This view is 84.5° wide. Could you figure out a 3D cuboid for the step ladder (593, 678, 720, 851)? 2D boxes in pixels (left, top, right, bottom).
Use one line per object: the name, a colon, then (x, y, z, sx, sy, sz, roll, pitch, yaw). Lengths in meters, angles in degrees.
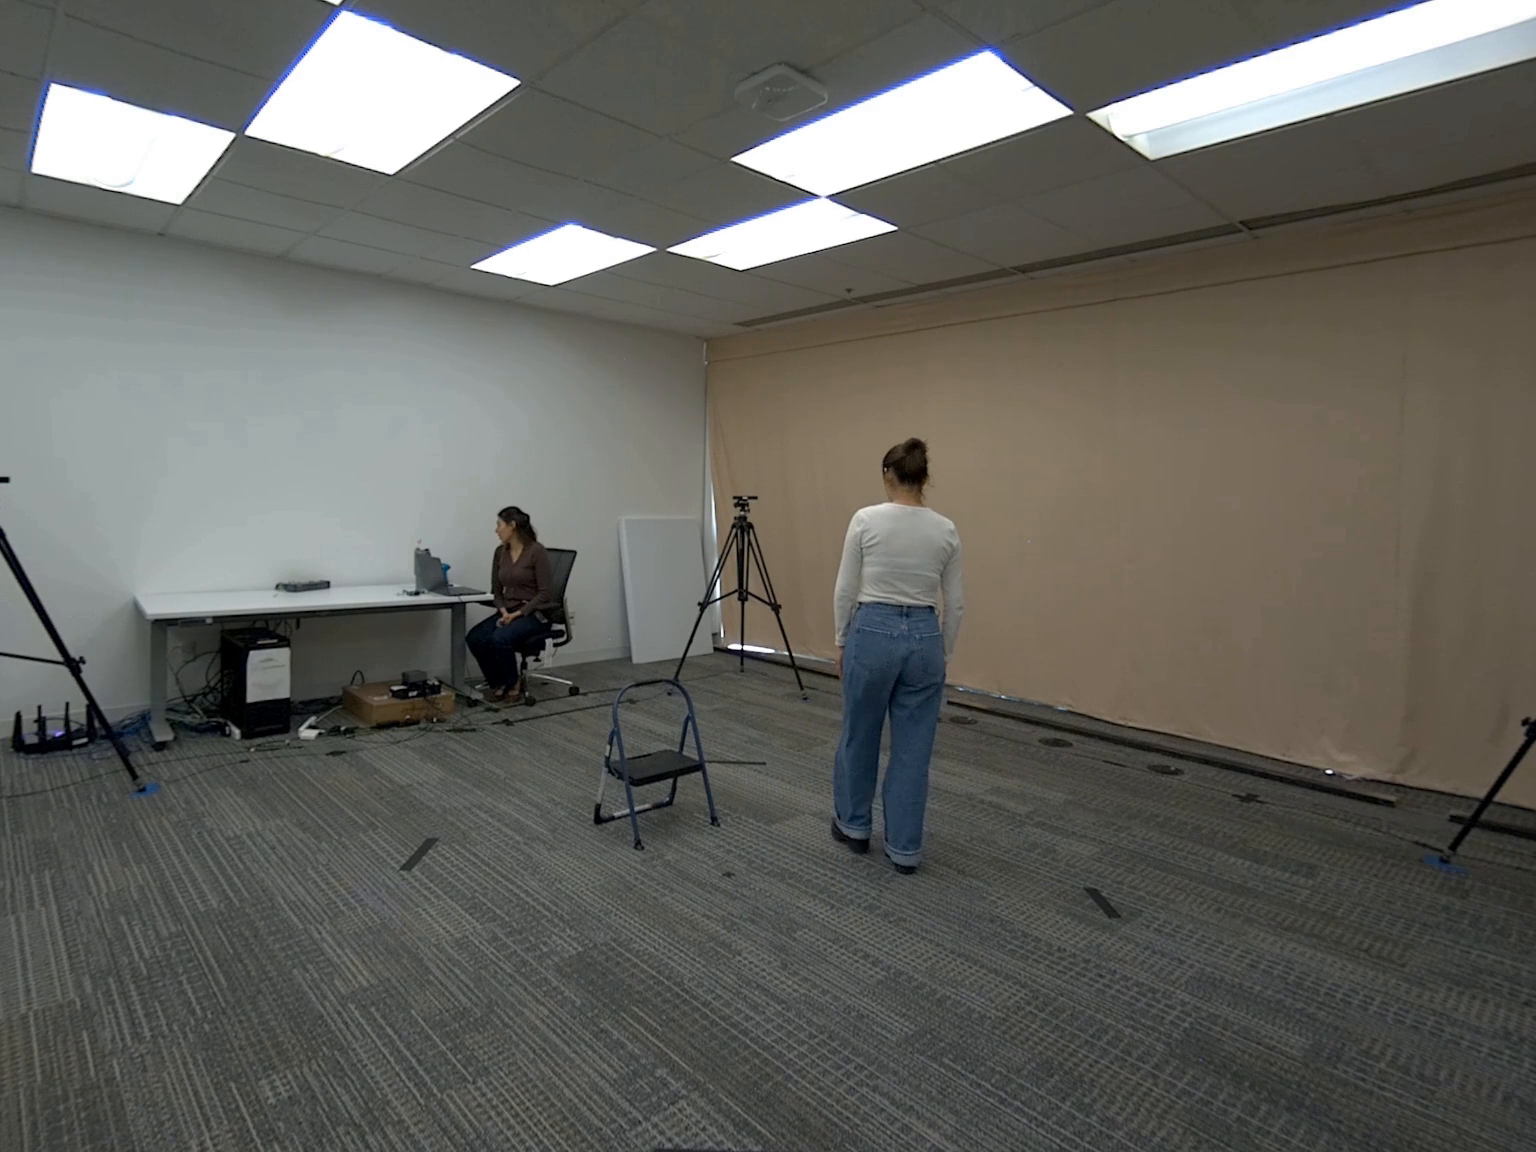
step ladder: (-0.473, 0.751, 3.556, 0.421, 0.605, 0.358, -1, 4, -43)
